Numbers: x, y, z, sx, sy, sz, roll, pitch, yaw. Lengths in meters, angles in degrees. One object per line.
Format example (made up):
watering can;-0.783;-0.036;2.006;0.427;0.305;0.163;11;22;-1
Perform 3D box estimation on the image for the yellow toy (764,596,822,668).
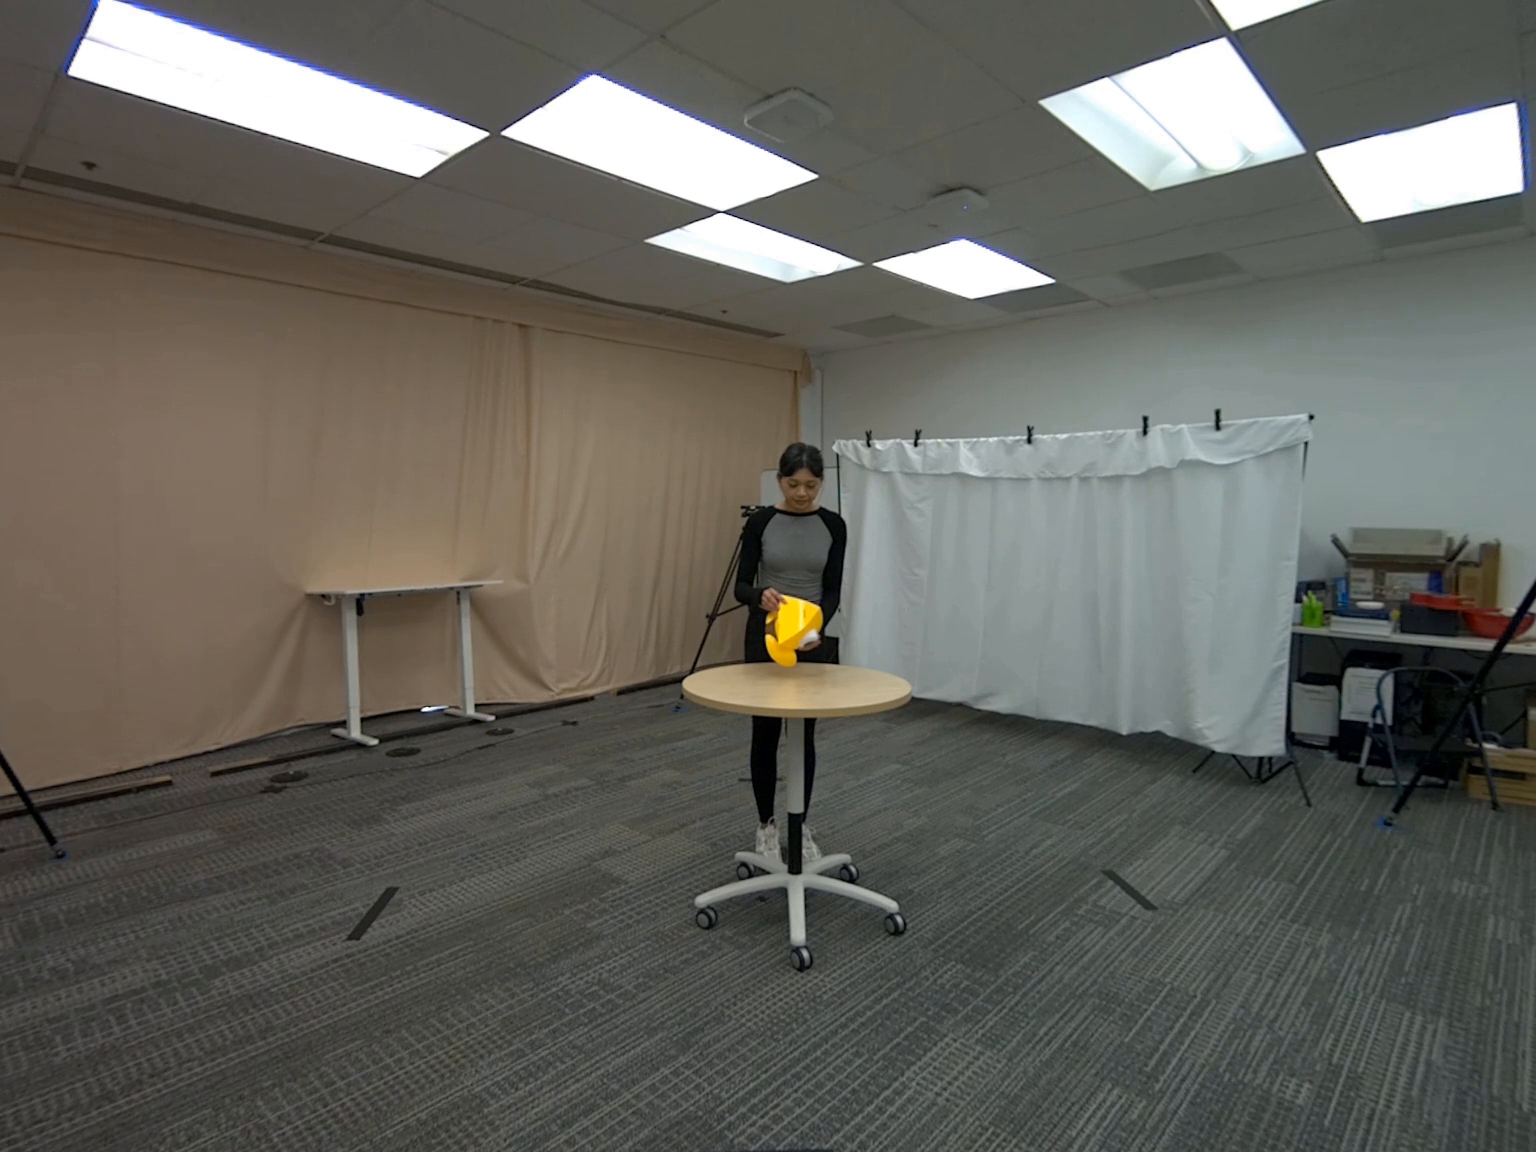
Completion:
yellow toy;0.111;0.177;2.912;0.235;0.208;0.186;-28;-47;33
